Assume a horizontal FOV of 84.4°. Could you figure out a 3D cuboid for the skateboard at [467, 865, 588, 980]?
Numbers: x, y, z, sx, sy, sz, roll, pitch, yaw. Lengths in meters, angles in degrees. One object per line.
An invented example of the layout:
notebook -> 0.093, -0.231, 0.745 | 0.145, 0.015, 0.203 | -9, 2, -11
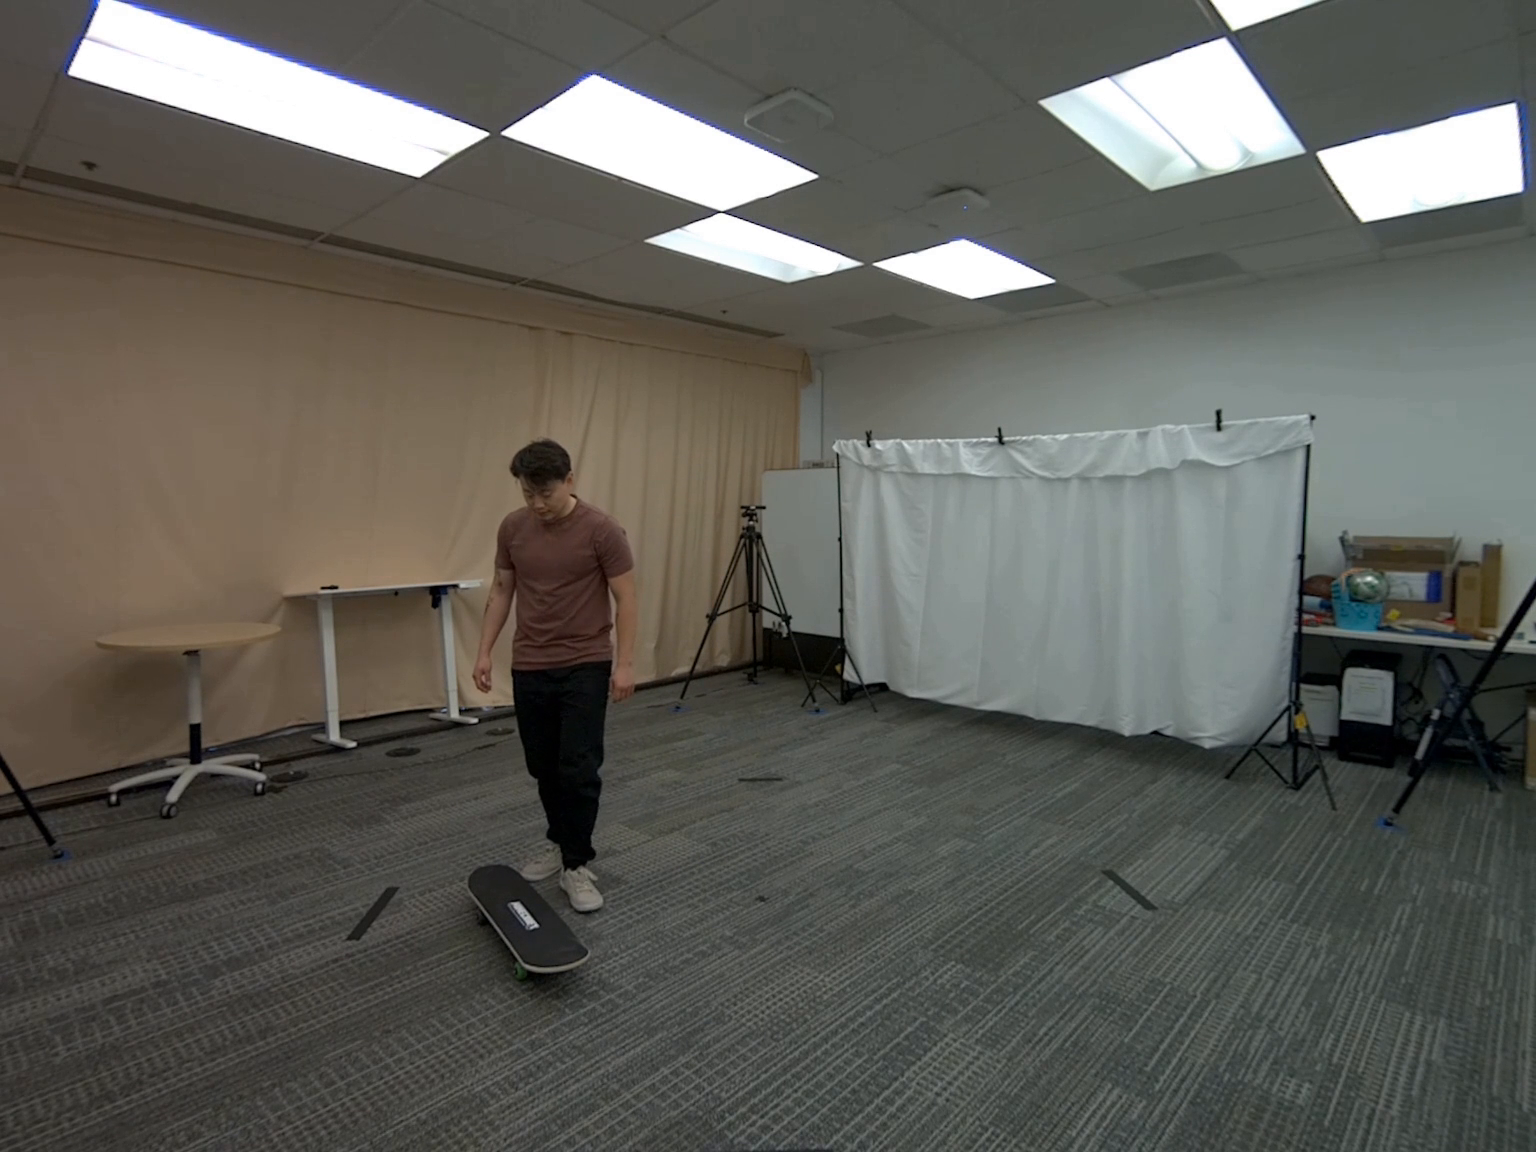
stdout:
skateboard -> -0.780, 1.117, 2.690 | 0.188, 0.110, 0.810 | -2, 5, -34
